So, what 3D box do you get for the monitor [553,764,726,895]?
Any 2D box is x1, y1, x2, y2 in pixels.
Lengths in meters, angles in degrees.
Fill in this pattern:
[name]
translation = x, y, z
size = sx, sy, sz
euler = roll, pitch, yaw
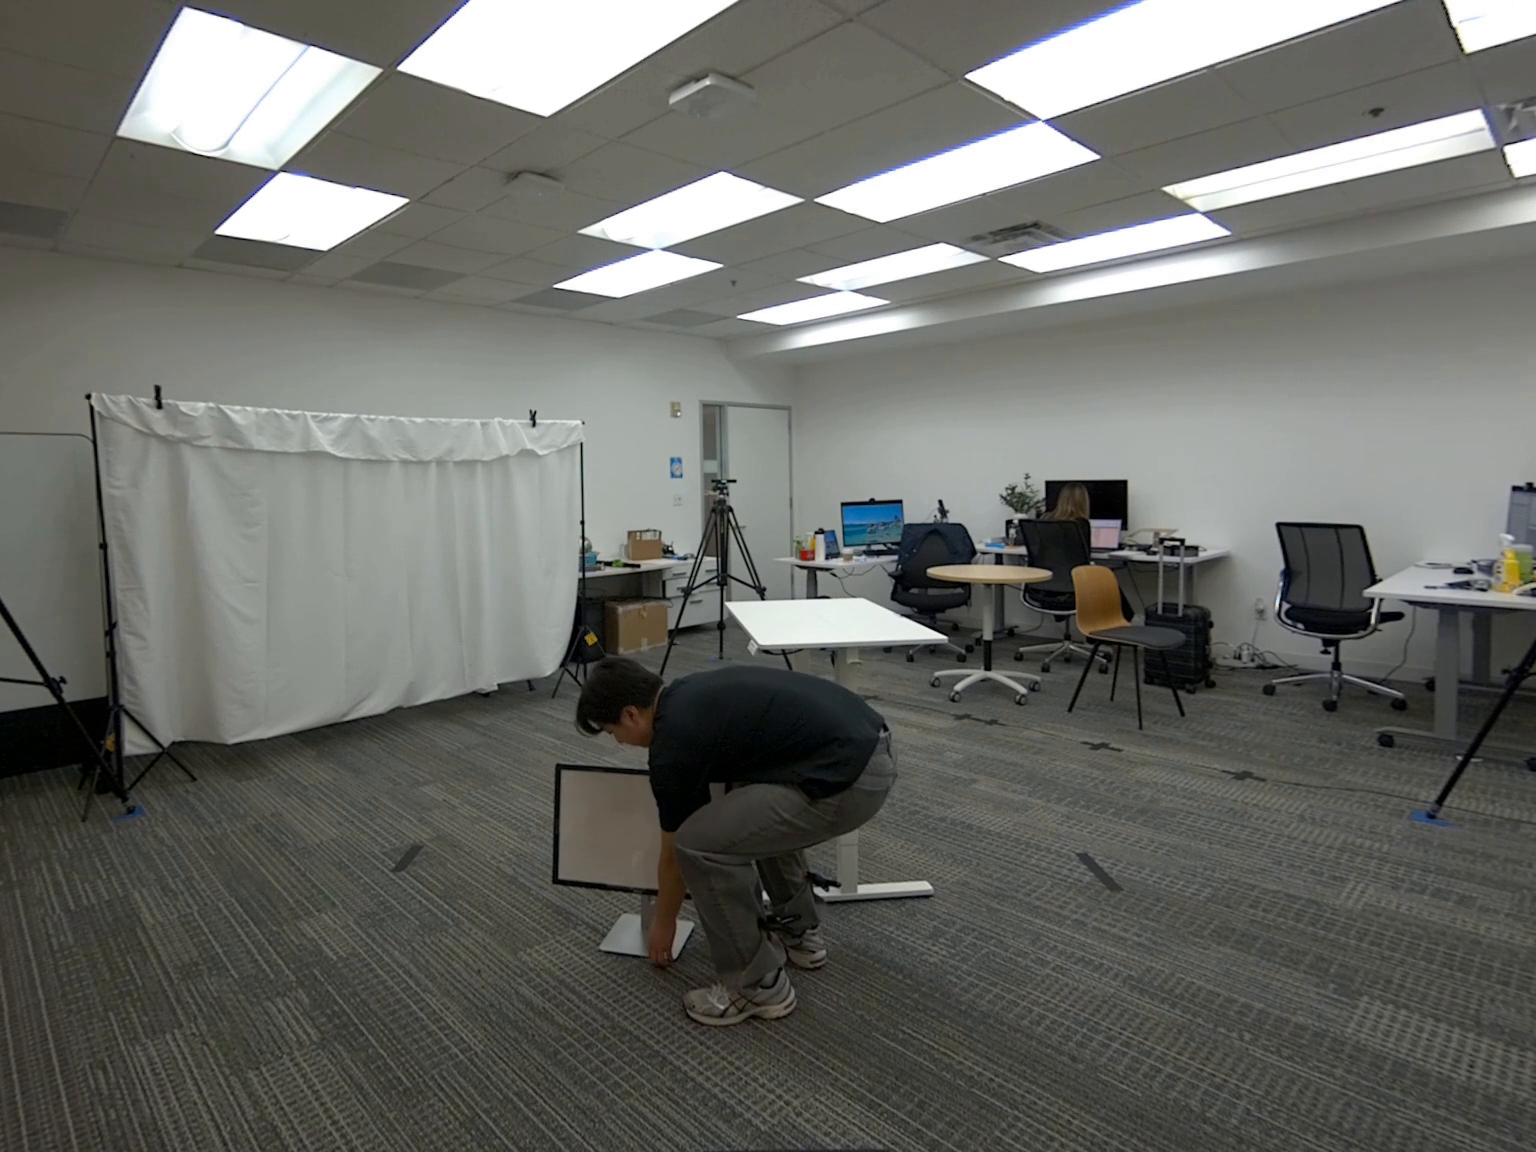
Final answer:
[monitor]
translation = -0.365, 0.857, 2.586
size = 0.571, 0.562, 0.220
euler = -1, 7, 17
